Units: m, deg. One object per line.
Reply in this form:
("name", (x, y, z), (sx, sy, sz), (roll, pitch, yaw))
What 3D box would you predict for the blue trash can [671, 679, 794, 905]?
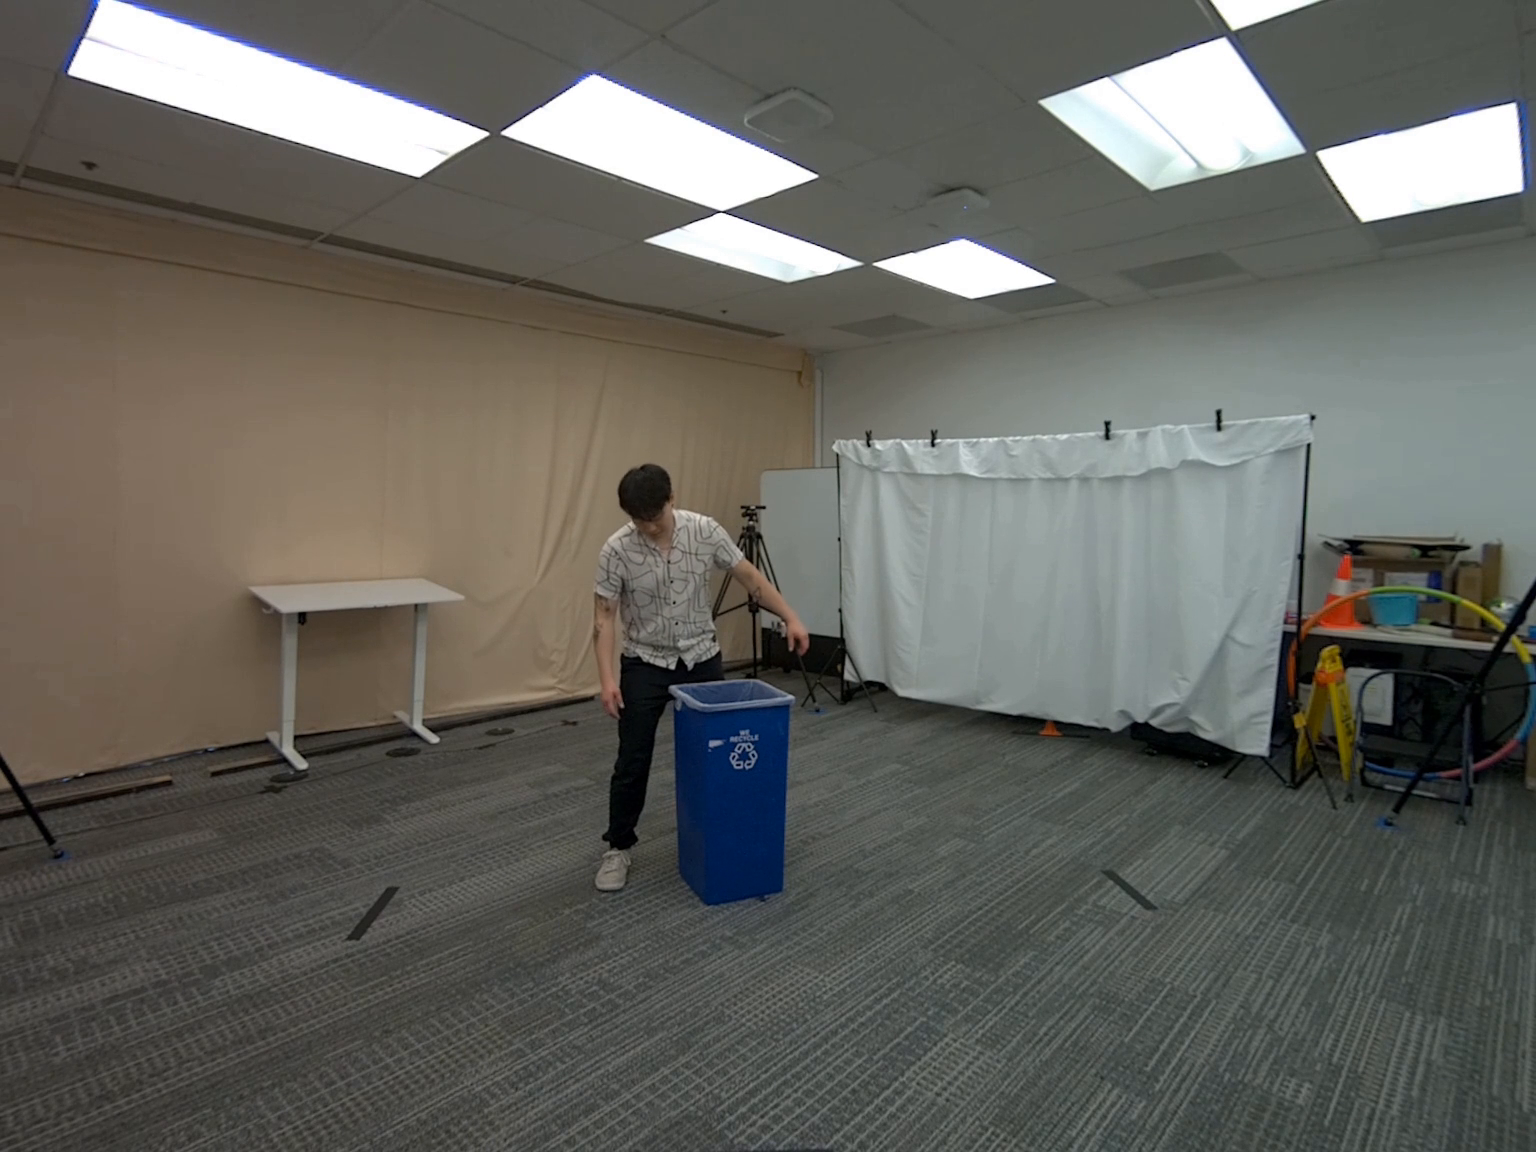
("blue trash can", (-0.129, 0.777, 3.096), (0.369, 0.712, 0.384), (-1, 3, -26))
